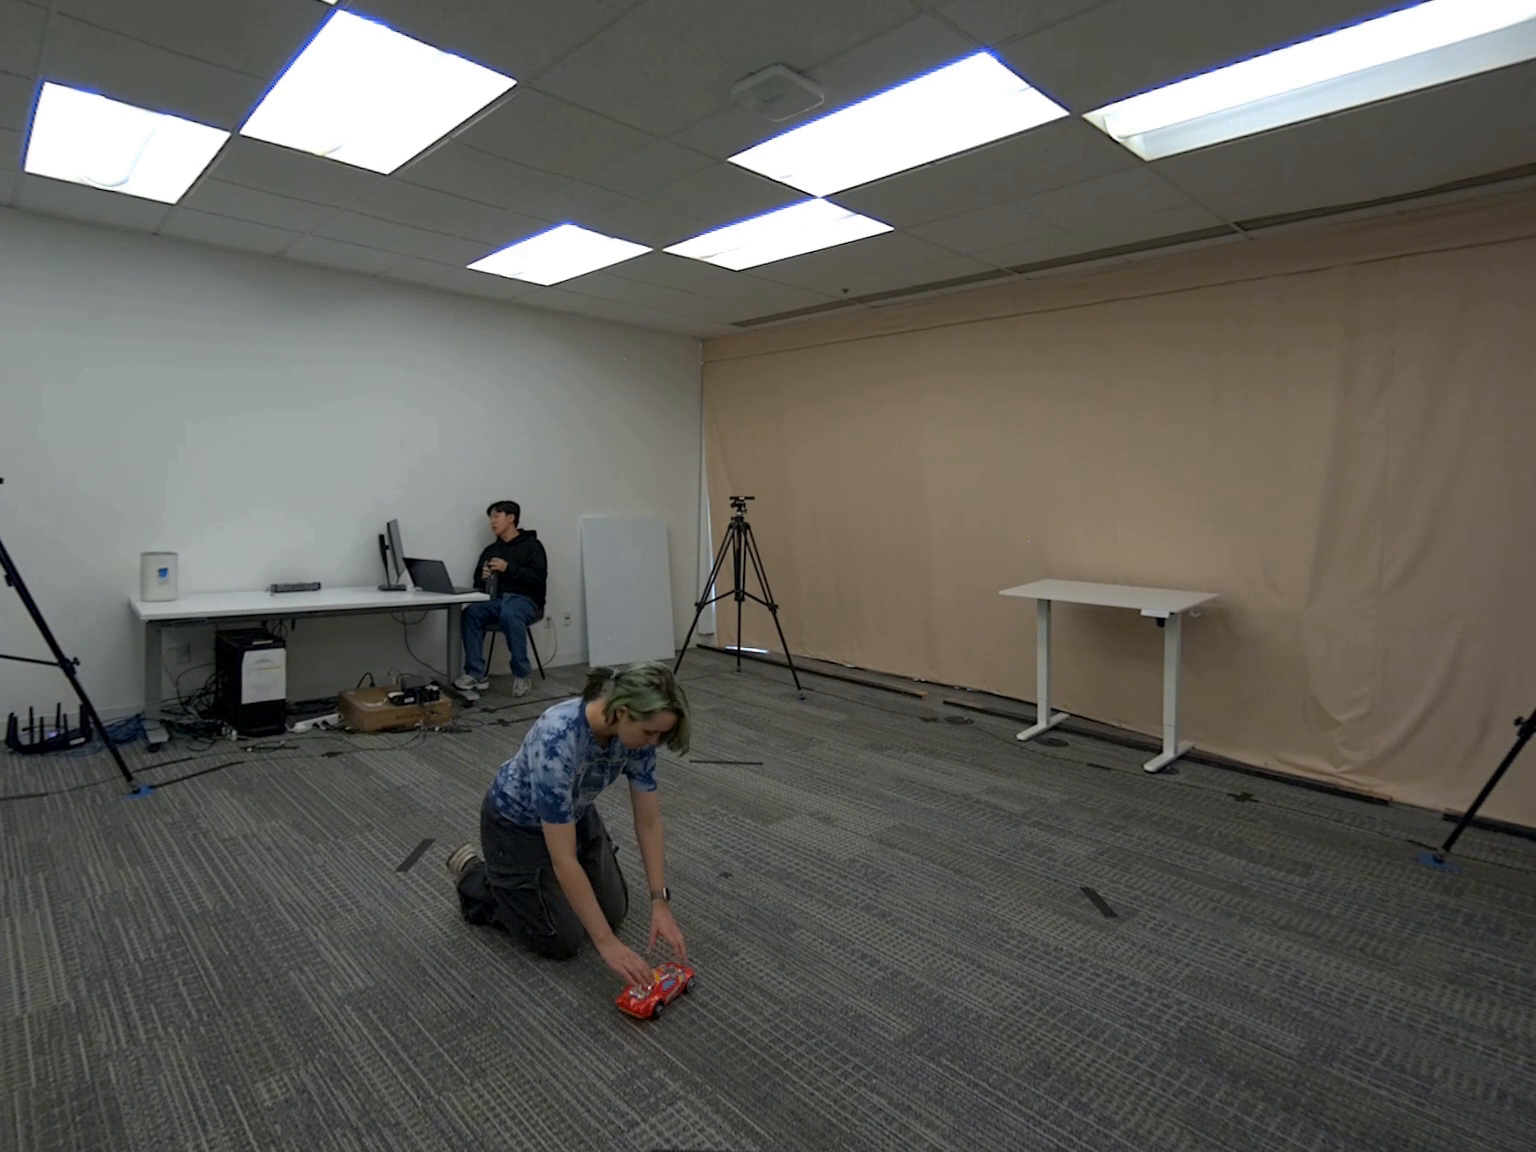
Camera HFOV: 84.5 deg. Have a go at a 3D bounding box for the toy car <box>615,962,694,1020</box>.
[{"bbox_3d":[-0.316,1.144,2.306,0.133,0.083,0.248,5,-4,32],"label":"toy car"}]
